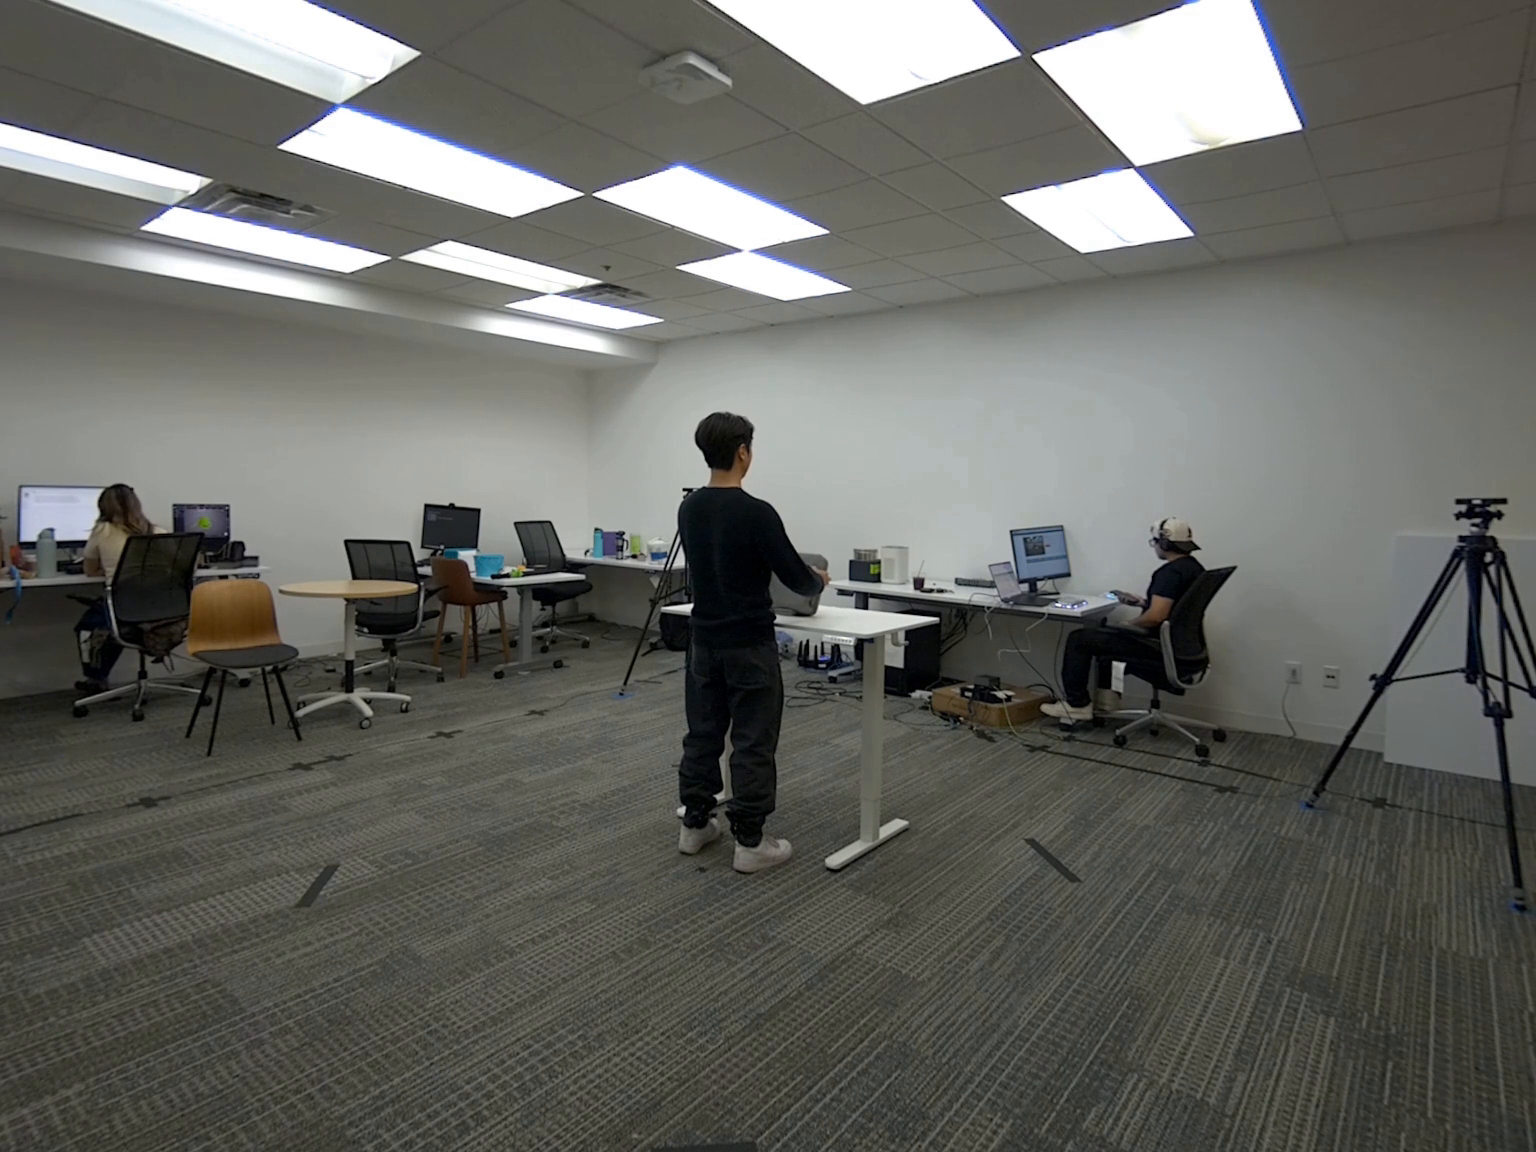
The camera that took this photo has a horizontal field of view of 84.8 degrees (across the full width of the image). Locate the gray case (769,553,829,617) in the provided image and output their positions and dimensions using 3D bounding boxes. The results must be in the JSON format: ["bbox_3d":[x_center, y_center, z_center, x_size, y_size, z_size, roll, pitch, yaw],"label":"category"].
[{"bbox_3d":[0.090,0.025,3.532,0.265,0.263,0.100,3,-18,33],"label":"gray case"}]
